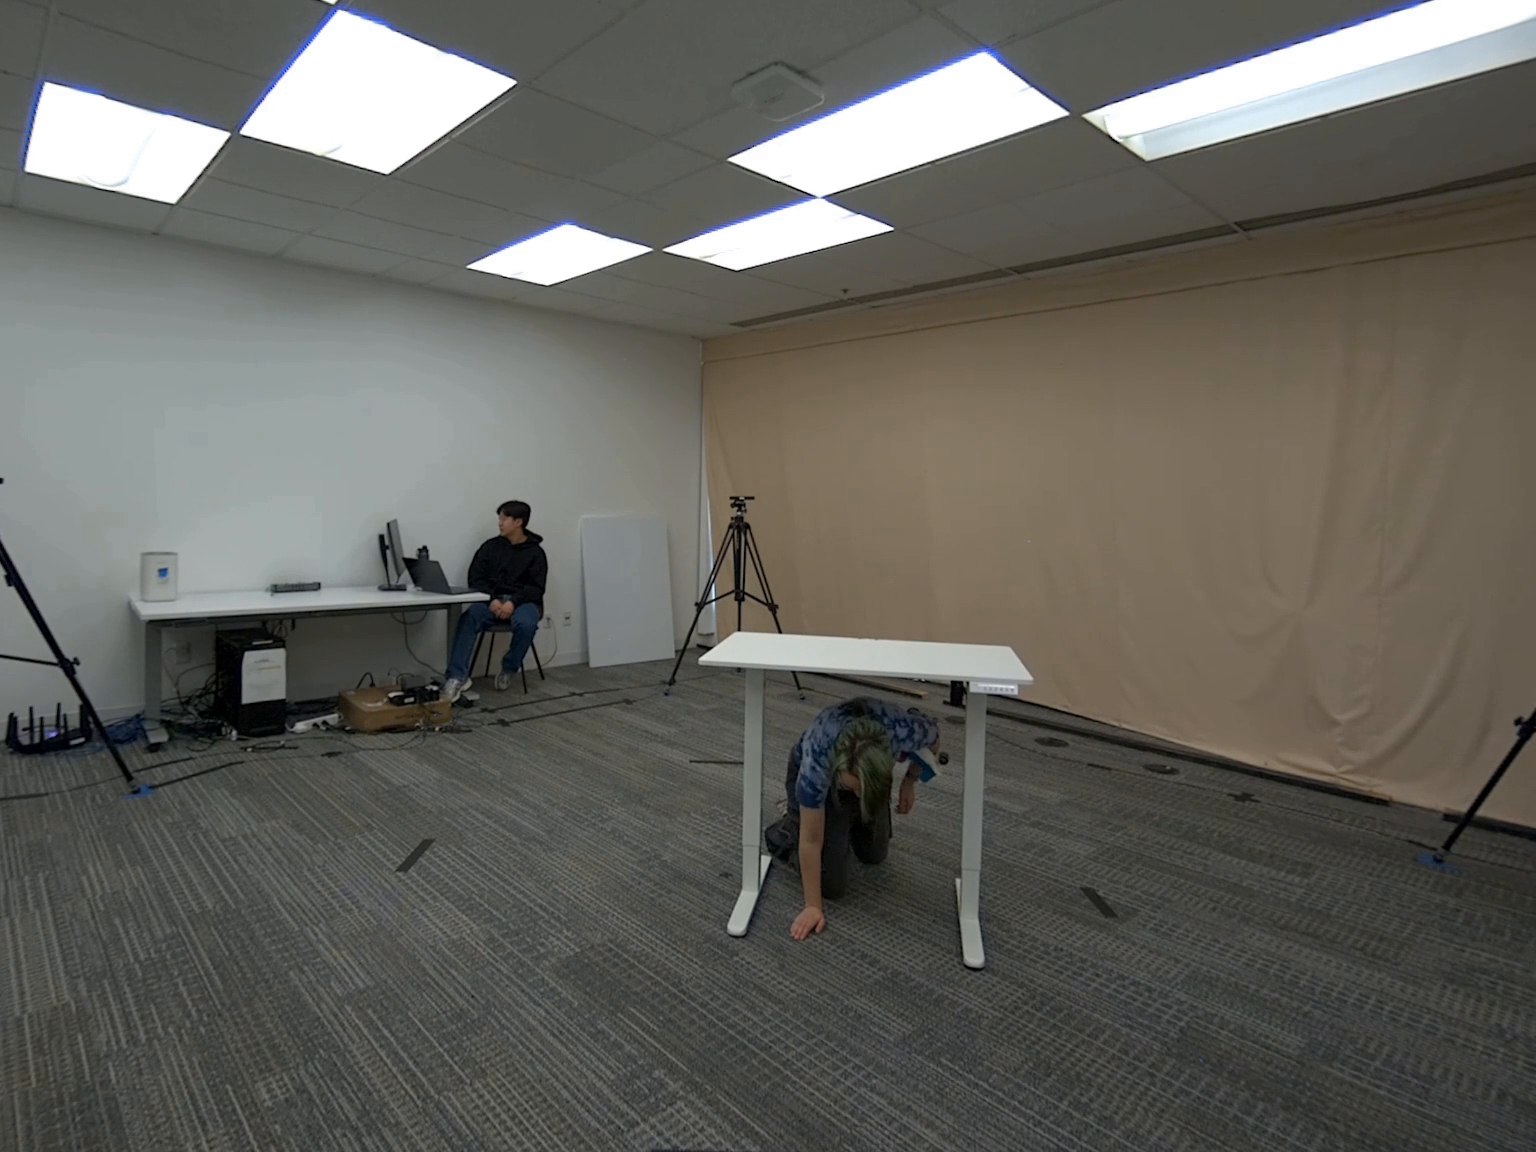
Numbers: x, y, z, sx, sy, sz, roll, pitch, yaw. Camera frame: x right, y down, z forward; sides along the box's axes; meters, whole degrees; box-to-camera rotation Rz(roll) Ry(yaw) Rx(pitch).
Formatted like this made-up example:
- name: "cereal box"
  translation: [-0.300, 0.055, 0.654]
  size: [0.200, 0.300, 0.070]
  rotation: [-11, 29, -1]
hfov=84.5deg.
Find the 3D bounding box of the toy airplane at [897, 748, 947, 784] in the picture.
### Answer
- name: "toy airplane"
  translation: [0.513, 0.610, 2.989]
  size: [0.157, 0.266, 0.244]
  rotation: [-34, -30, 14]
